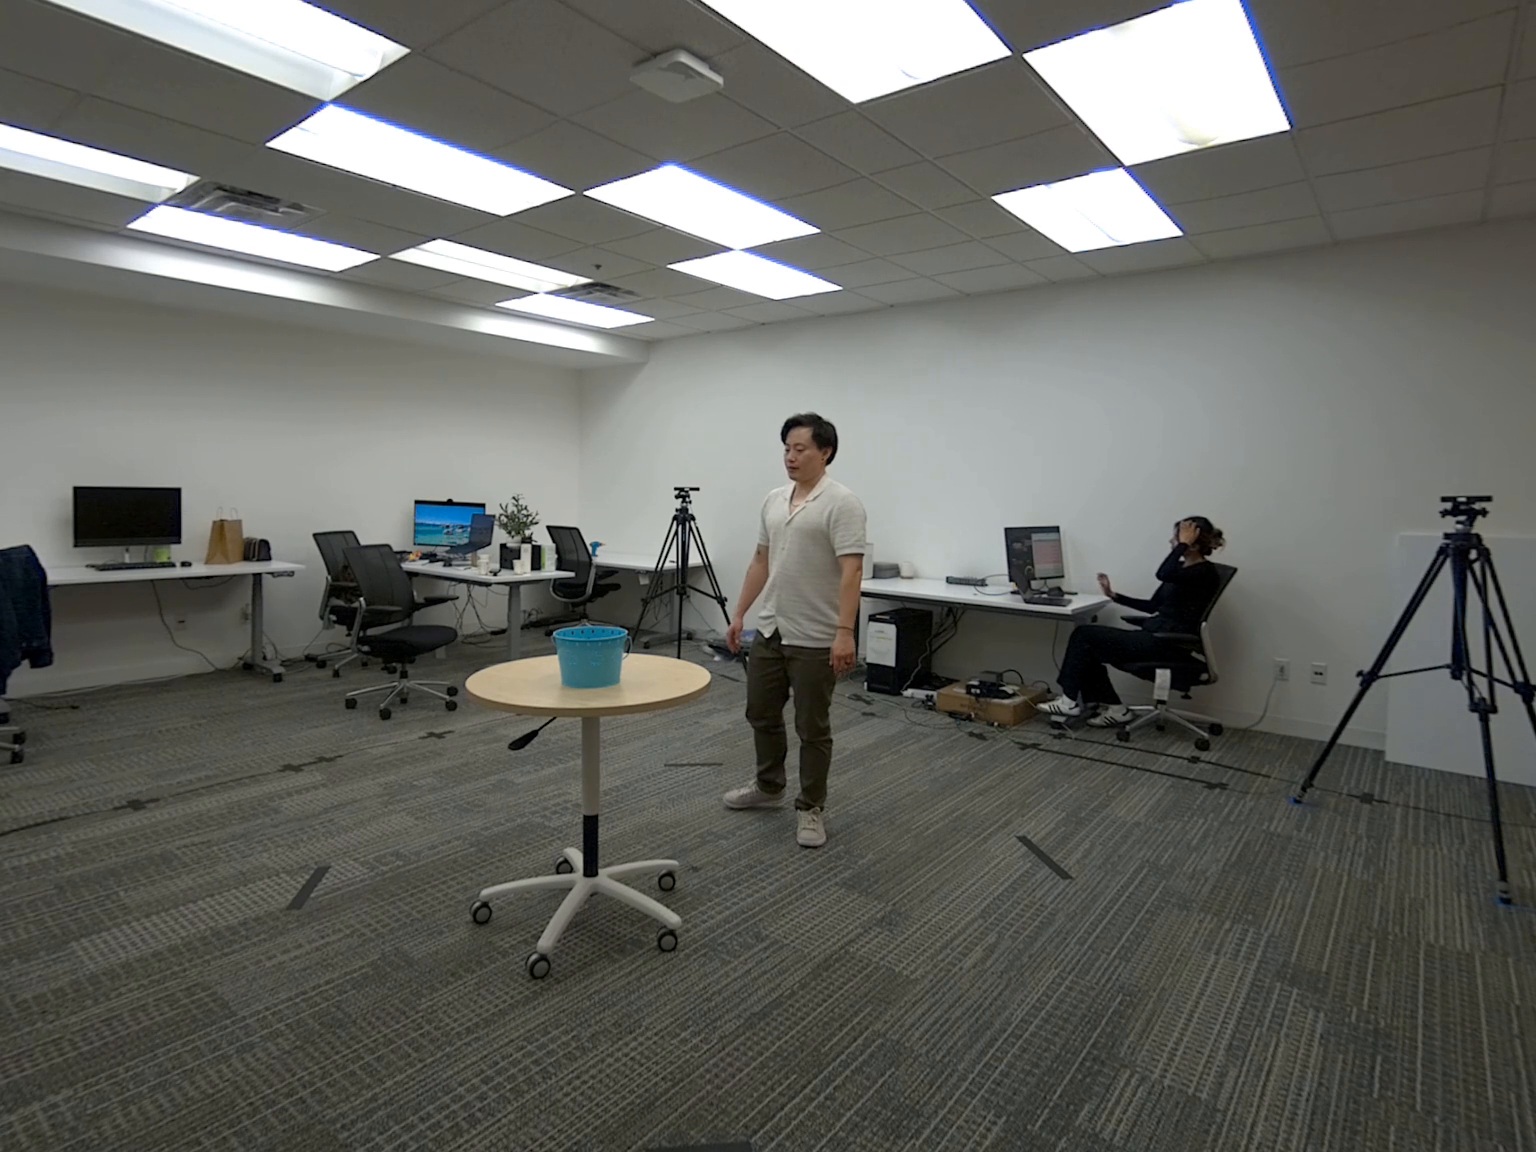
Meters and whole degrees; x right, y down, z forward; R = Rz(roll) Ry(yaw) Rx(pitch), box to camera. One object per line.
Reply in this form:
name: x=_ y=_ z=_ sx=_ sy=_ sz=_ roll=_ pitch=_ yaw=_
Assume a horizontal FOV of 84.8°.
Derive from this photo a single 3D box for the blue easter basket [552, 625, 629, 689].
blue easter basket: x=-0.559 y=0.253 z=2.634 sx=0.243 sy=0.155 sz=0.245 roll=0 pitch=5 yaw=-2
